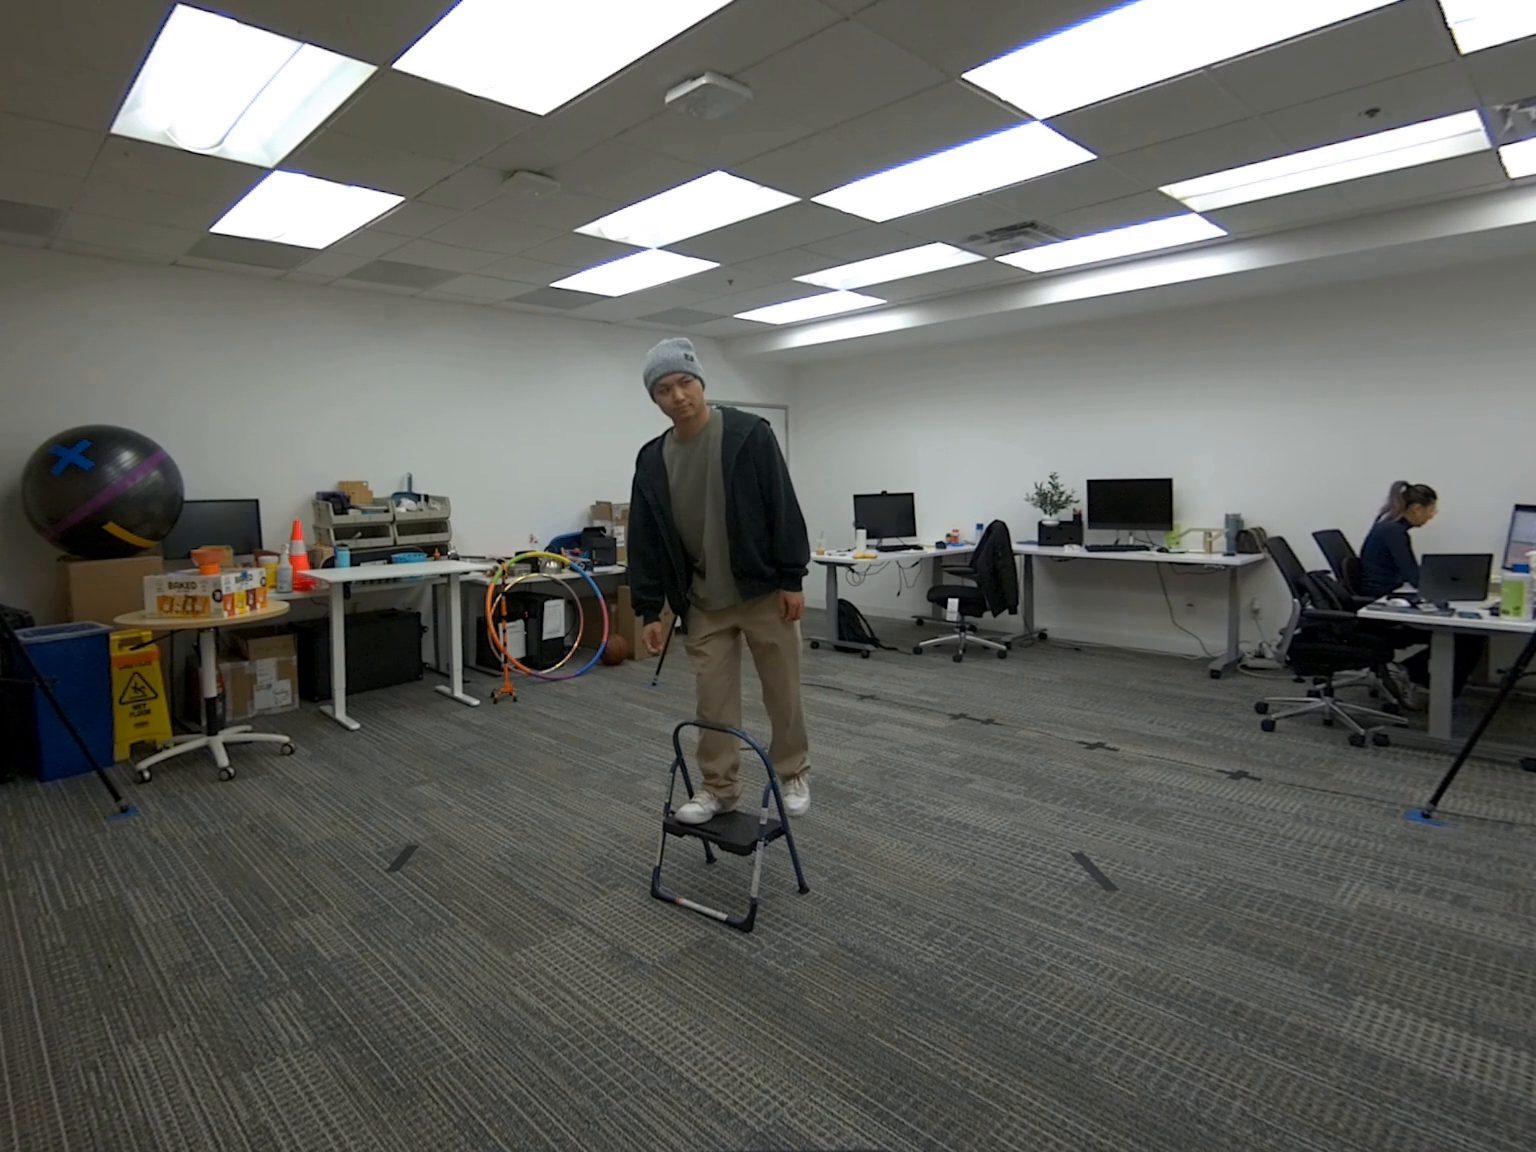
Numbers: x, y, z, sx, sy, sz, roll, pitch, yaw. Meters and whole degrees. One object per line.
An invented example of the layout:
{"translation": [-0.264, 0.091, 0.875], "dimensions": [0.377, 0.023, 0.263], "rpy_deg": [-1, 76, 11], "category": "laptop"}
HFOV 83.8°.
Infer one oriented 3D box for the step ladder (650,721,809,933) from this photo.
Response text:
{"translation": [-0.135, 0.773, 2.865], "dimensions": [0.443, 0.604, 0.341], "rpy_deg": [2, 6, 35], "category": "step ladder"}
